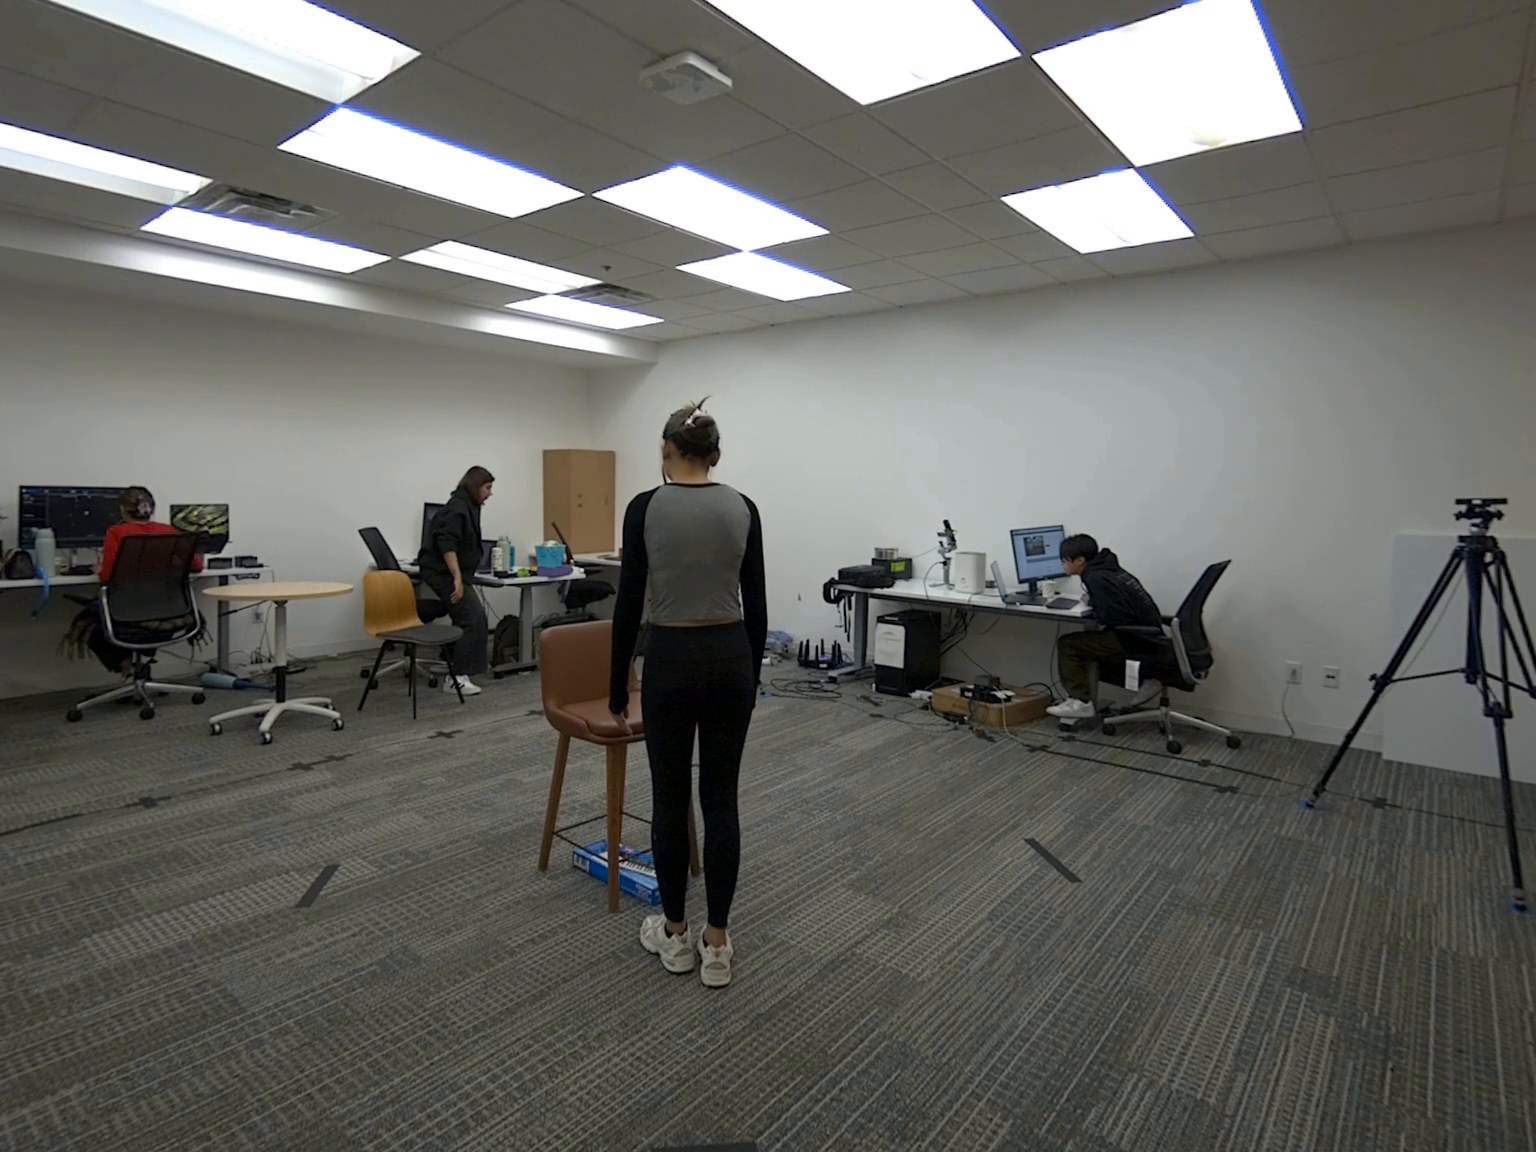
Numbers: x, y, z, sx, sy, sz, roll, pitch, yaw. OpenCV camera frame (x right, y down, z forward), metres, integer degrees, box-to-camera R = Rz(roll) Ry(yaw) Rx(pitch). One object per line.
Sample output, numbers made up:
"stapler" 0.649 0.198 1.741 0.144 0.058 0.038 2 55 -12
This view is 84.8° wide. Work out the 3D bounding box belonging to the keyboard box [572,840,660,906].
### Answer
"keyboard box" -0.507 1.045 3.027 0.452 0.059 0.171 5 7 41
